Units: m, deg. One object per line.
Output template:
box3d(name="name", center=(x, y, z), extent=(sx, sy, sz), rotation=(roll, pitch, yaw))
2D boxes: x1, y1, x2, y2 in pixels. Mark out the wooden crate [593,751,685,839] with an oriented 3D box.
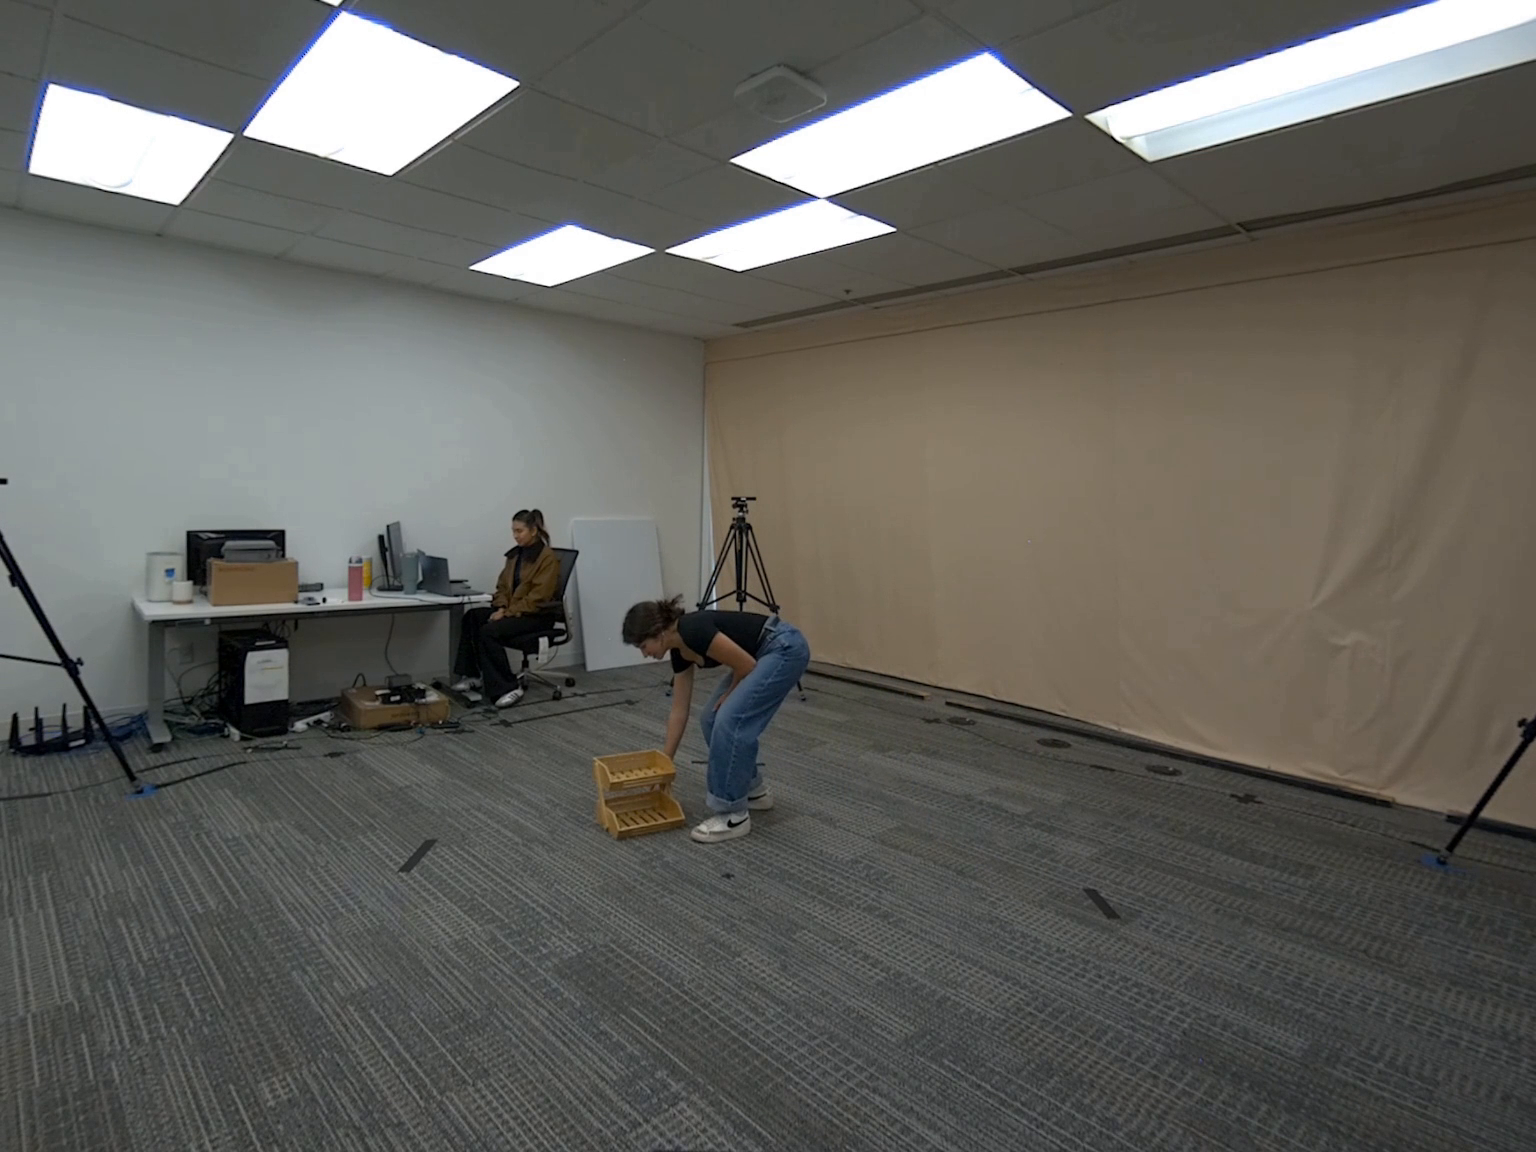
box3d(name="wooden crate", center=(-0.559, 0.917, 3.582), extent=(0.317, 0.273, 0.309), rotation=(-1, 4, -32))
